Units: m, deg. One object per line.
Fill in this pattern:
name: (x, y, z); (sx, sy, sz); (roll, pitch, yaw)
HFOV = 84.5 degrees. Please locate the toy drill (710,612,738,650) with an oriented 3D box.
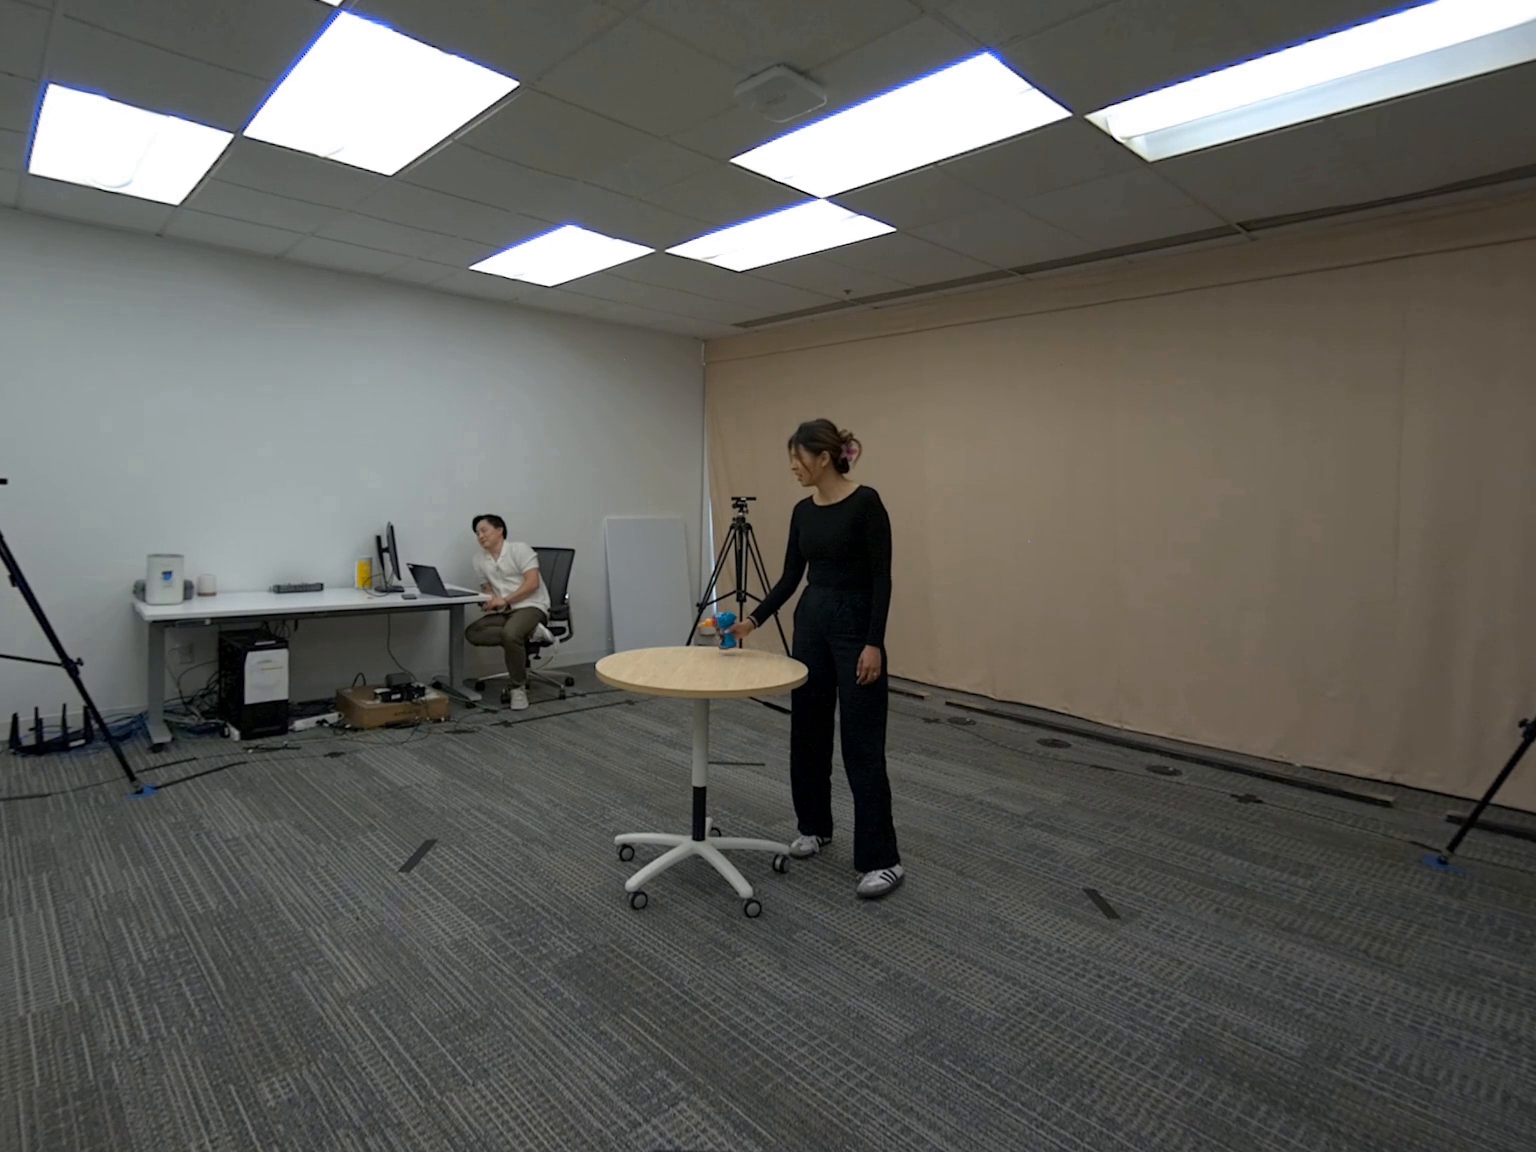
toy drill: (-0.192, 0.210, 3.242); (0.167, 0.145, 0.062); (-8, 5, -27)
